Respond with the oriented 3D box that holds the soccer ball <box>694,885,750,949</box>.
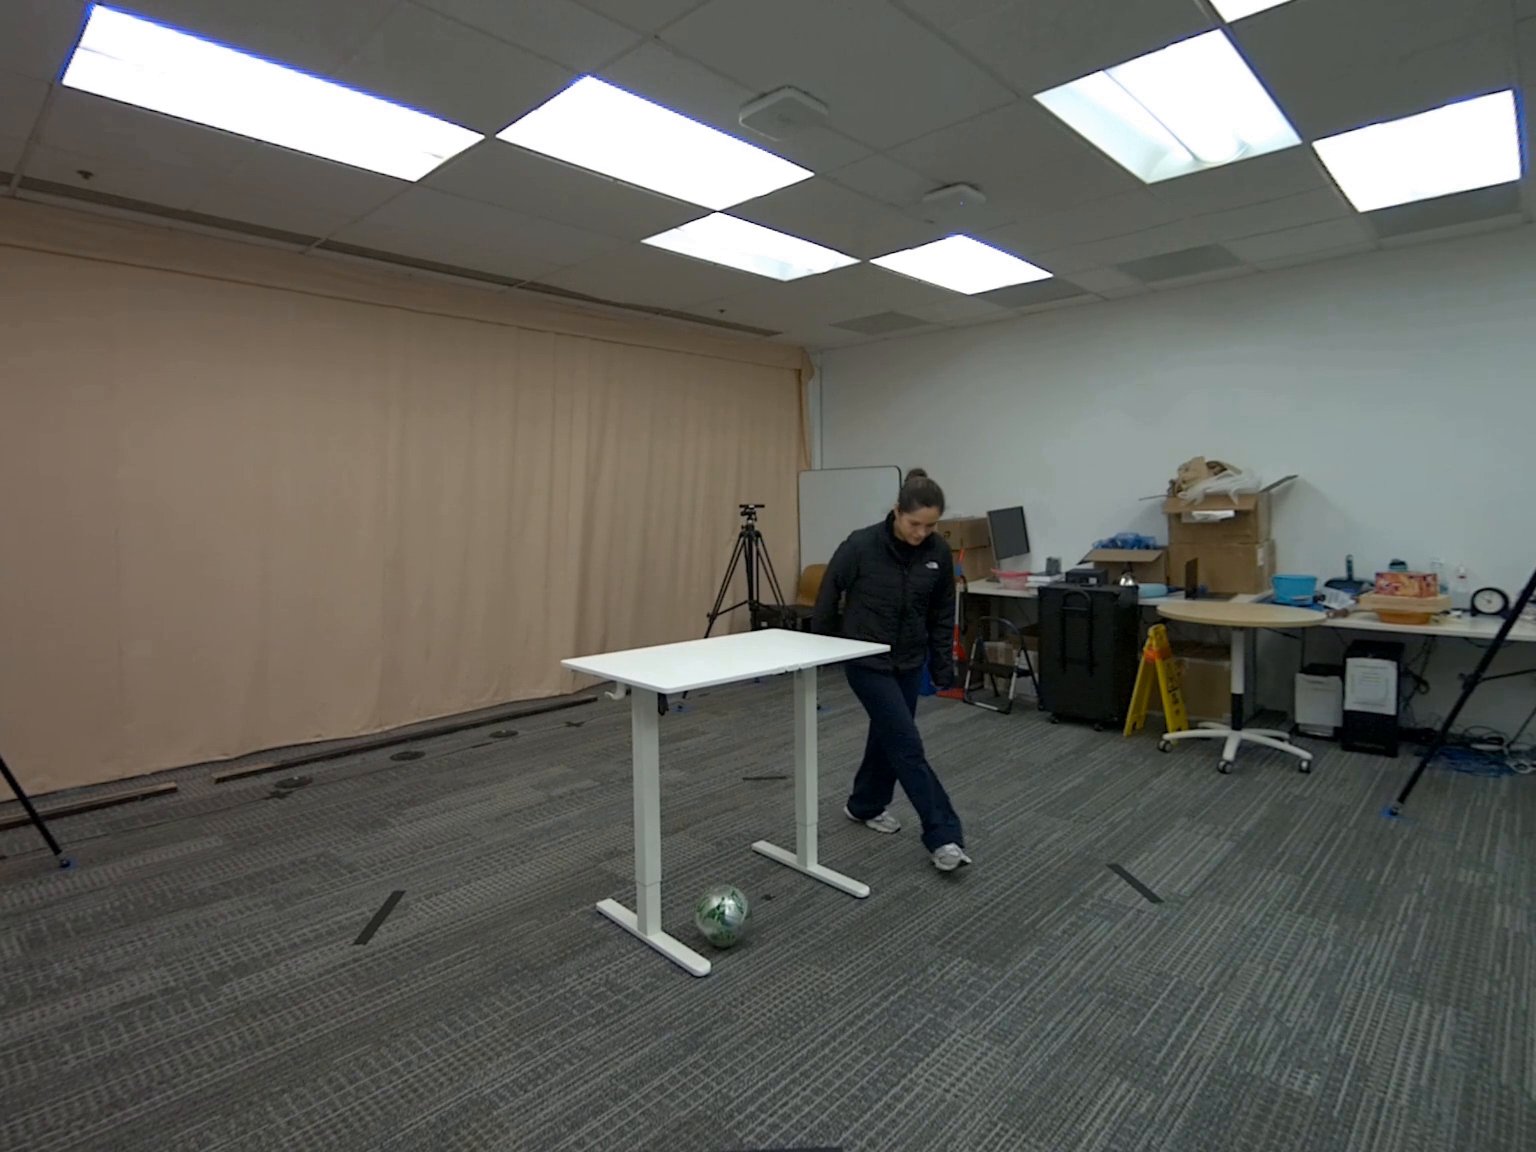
[{"bbox_3d":[-0.135,1.075,2.662,0.187,0.187,0.188,-1,4,-2],"label":"soccer ball"}]
